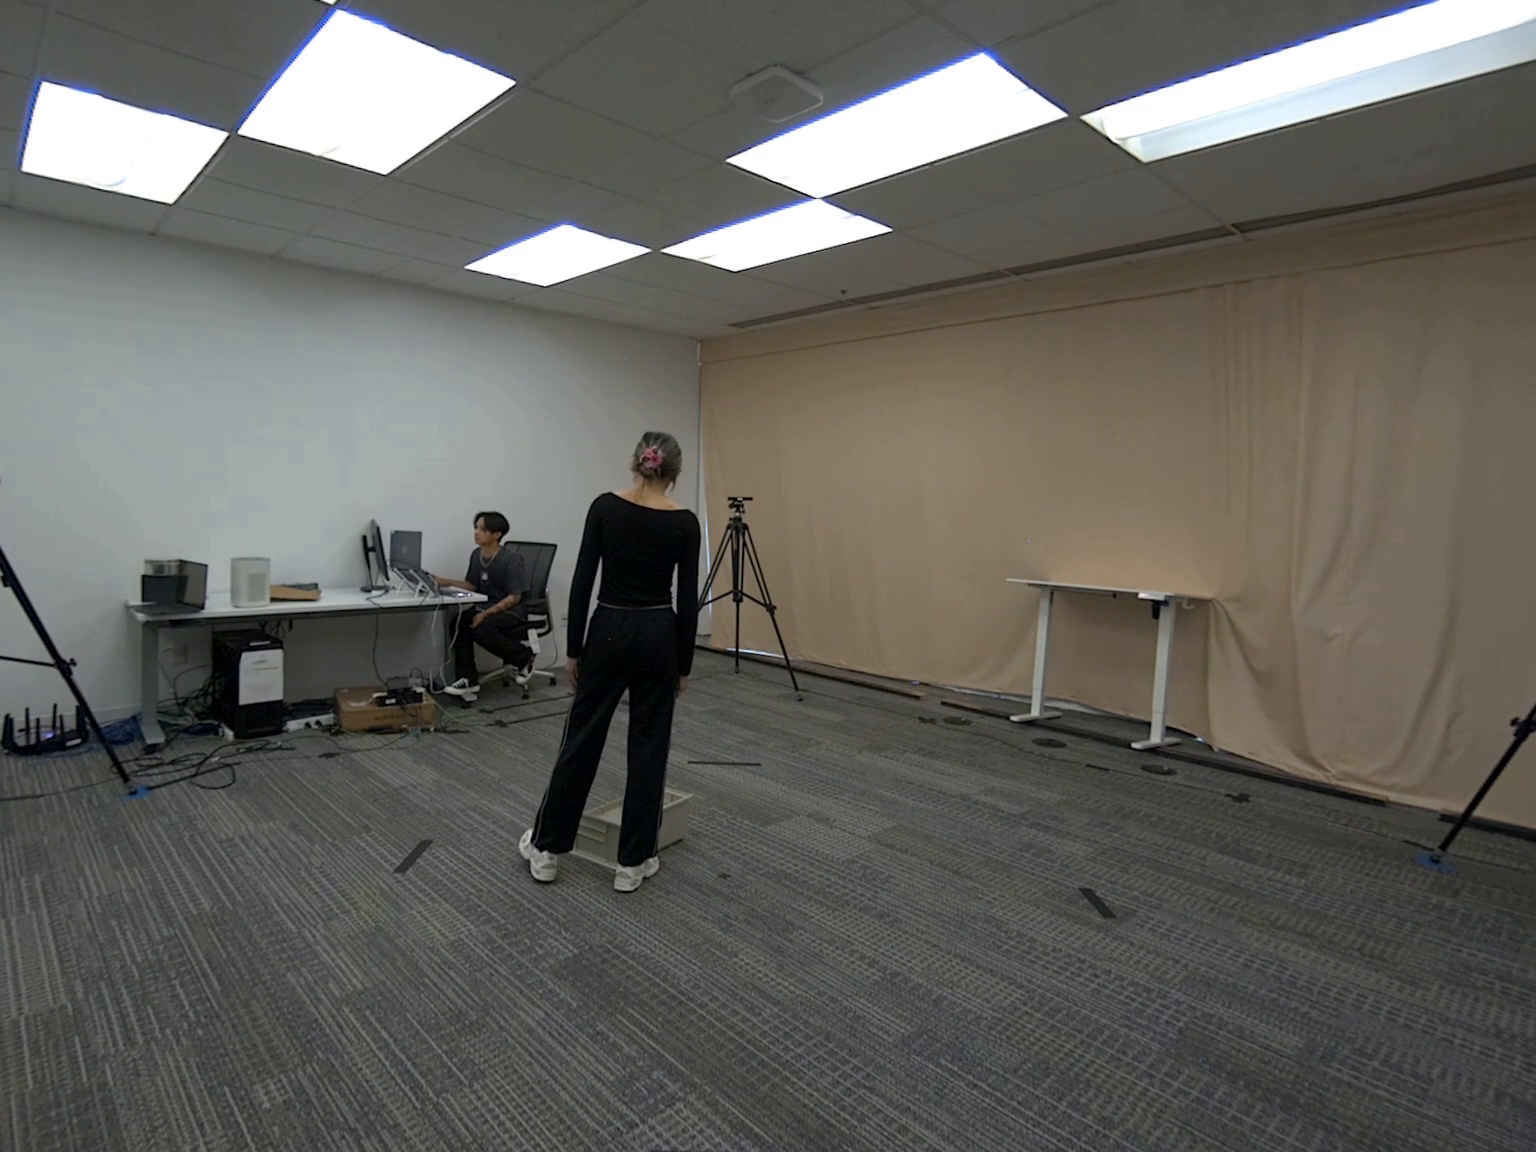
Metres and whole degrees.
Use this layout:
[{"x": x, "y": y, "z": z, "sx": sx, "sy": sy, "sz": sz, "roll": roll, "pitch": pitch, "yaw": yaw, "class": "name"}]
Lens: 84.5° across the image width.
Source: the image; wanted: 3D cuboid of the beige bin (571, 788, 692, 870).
[{"x": -0.586, "y": 0.984, "z": 3.381, "sx": 0.386, "sy": 0.188, "sz": 0.413, "roll": 6, "pitch": 7, "yaw": 34, "class": "beige bin"}]
